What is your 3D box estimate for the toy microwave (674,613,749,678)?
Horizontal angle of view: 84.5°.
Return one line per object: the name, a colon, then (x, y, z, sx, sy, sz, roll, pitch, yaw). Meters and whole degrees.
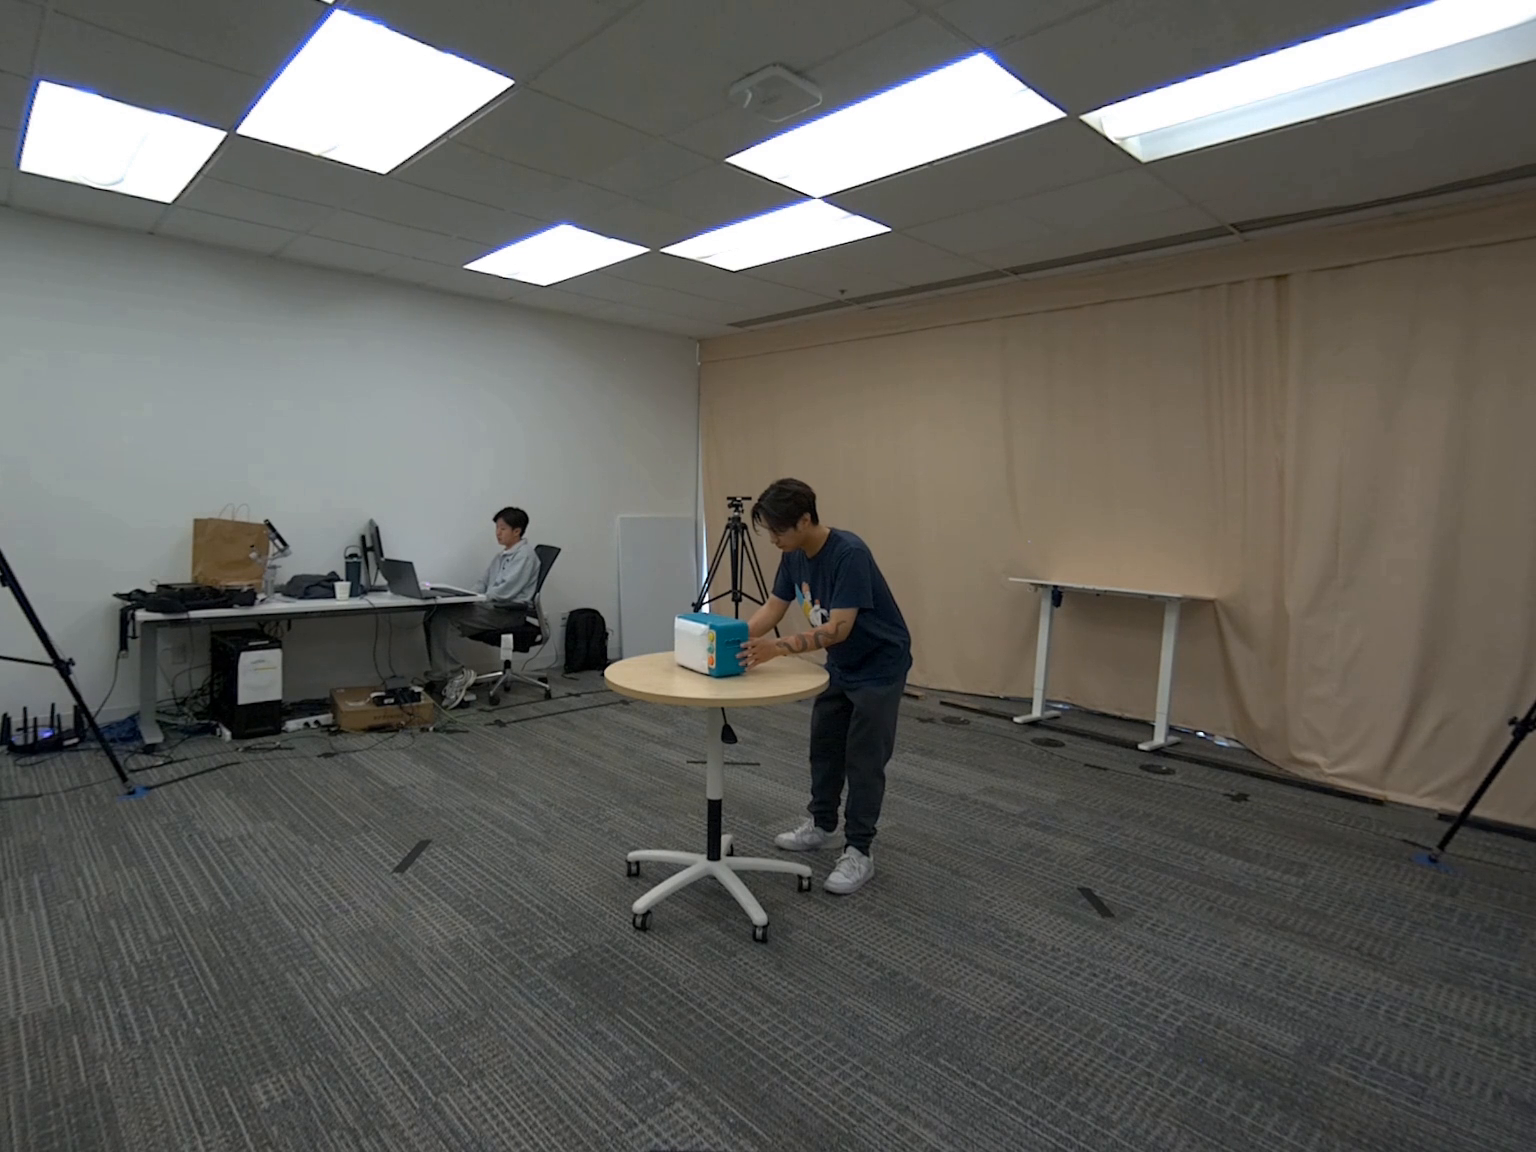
toy microwave: (-0.207, 0.234, 2.887, 0.149, 0.183, 0.293, -2, 6, -36)
